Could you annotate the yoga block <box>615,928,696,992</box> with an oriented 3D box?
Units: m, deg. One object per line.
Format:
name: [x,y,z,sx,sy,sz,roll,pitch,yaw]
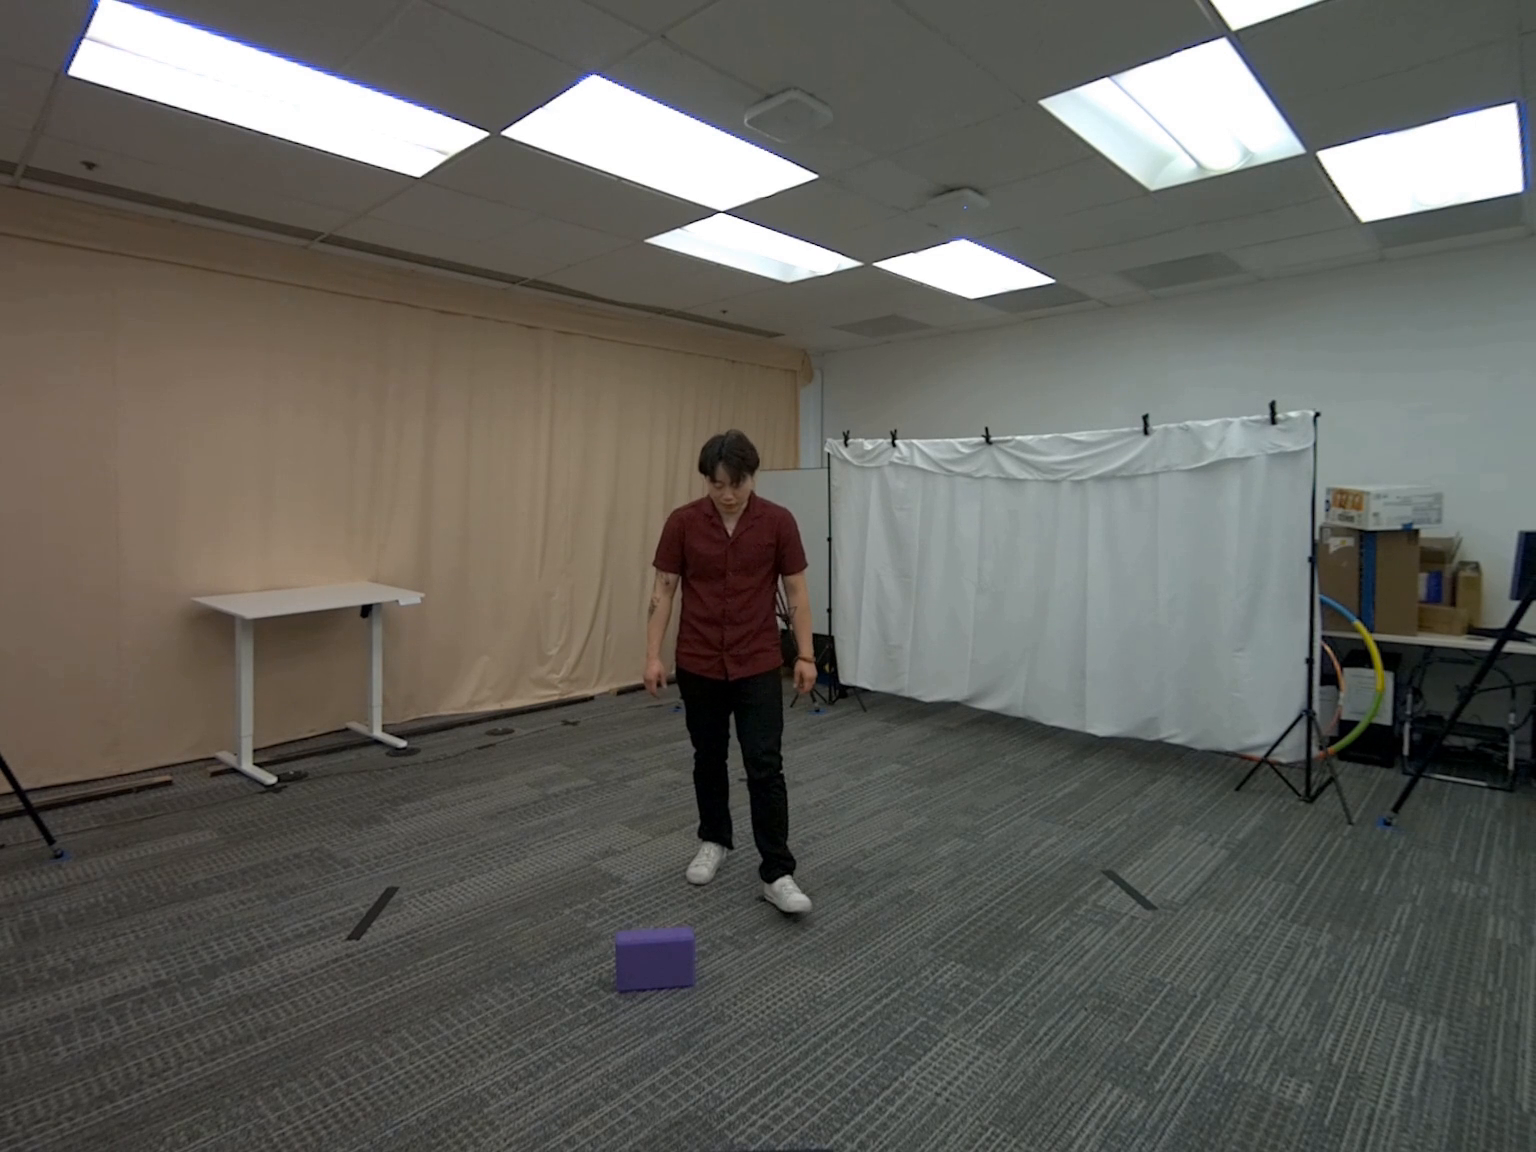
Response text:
yoga block: [-0.334,1.110,2.450,0.228,0.148,0.077,1,5,-6]
